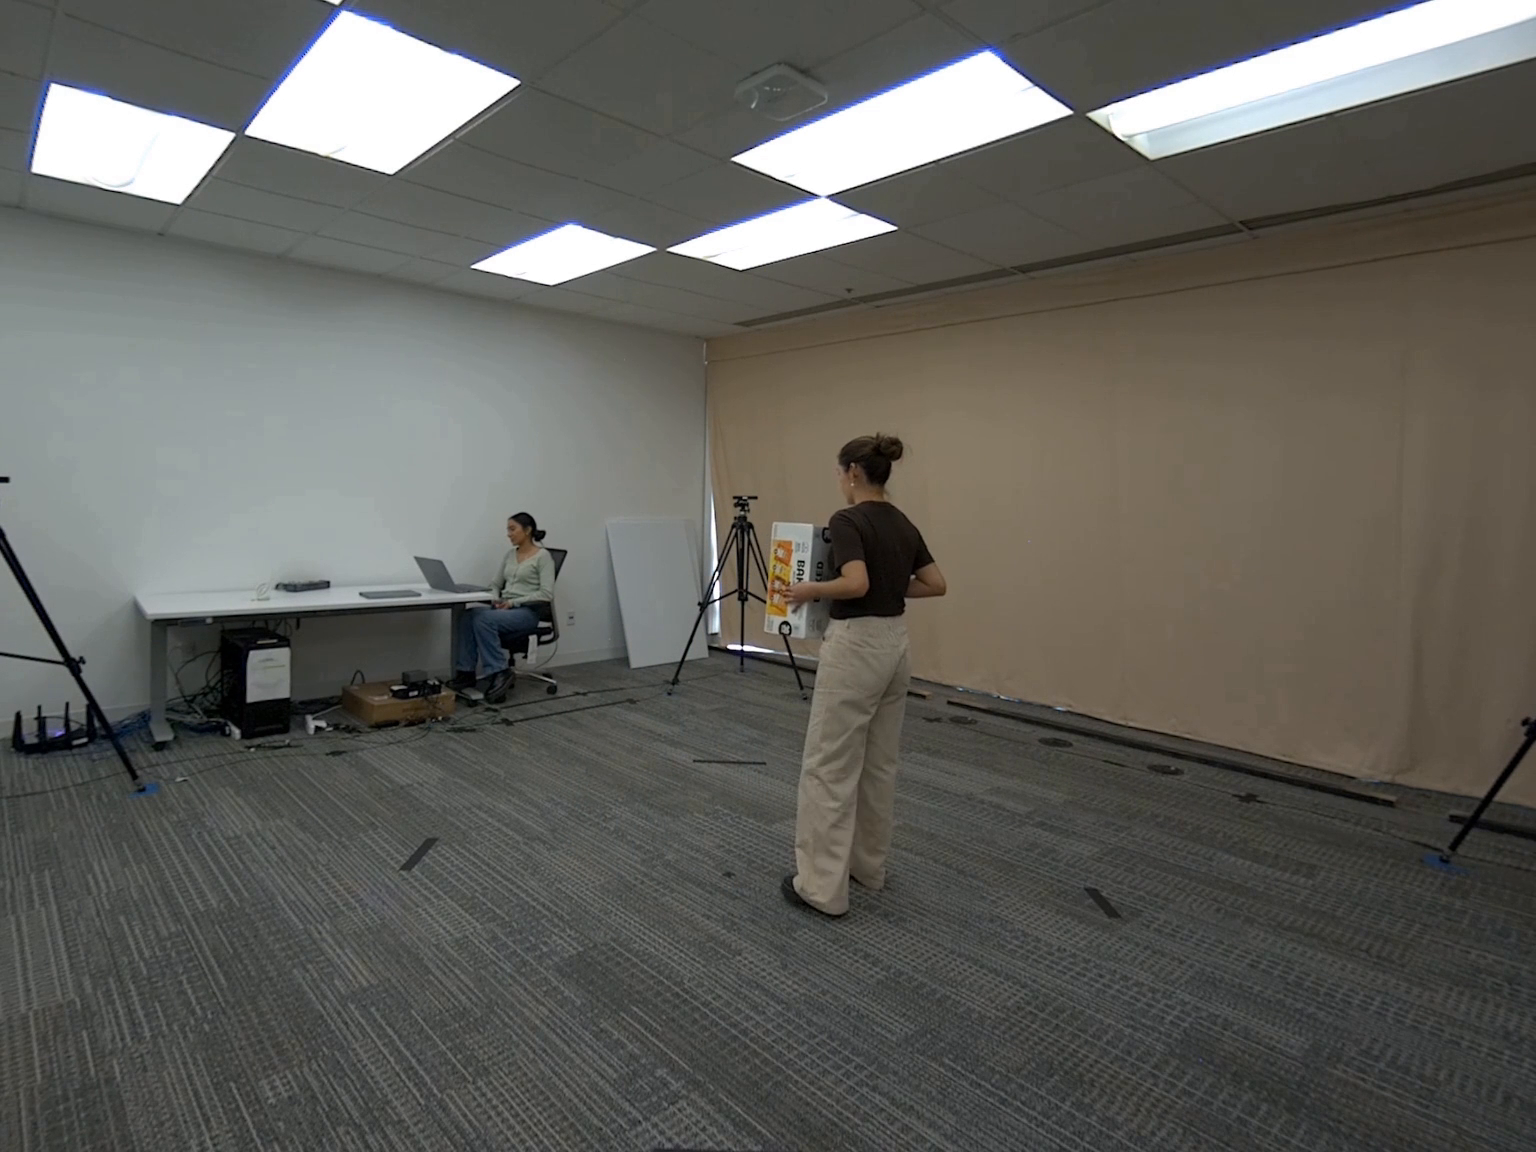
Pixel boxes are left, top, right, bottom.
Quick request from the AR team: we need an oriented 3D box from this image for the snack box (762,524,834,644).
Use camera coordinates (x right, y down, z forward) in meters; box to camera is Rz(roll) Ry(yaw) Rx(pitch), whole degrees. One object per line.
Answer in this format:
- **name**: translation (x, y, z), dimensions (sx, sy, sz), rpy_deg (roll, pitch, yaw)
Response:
- **snack box**: translation (0.185, 0.023, 3.129), dimensions (0.332, 0.405, 0.211), rpy_deg (3, 2, -45)
